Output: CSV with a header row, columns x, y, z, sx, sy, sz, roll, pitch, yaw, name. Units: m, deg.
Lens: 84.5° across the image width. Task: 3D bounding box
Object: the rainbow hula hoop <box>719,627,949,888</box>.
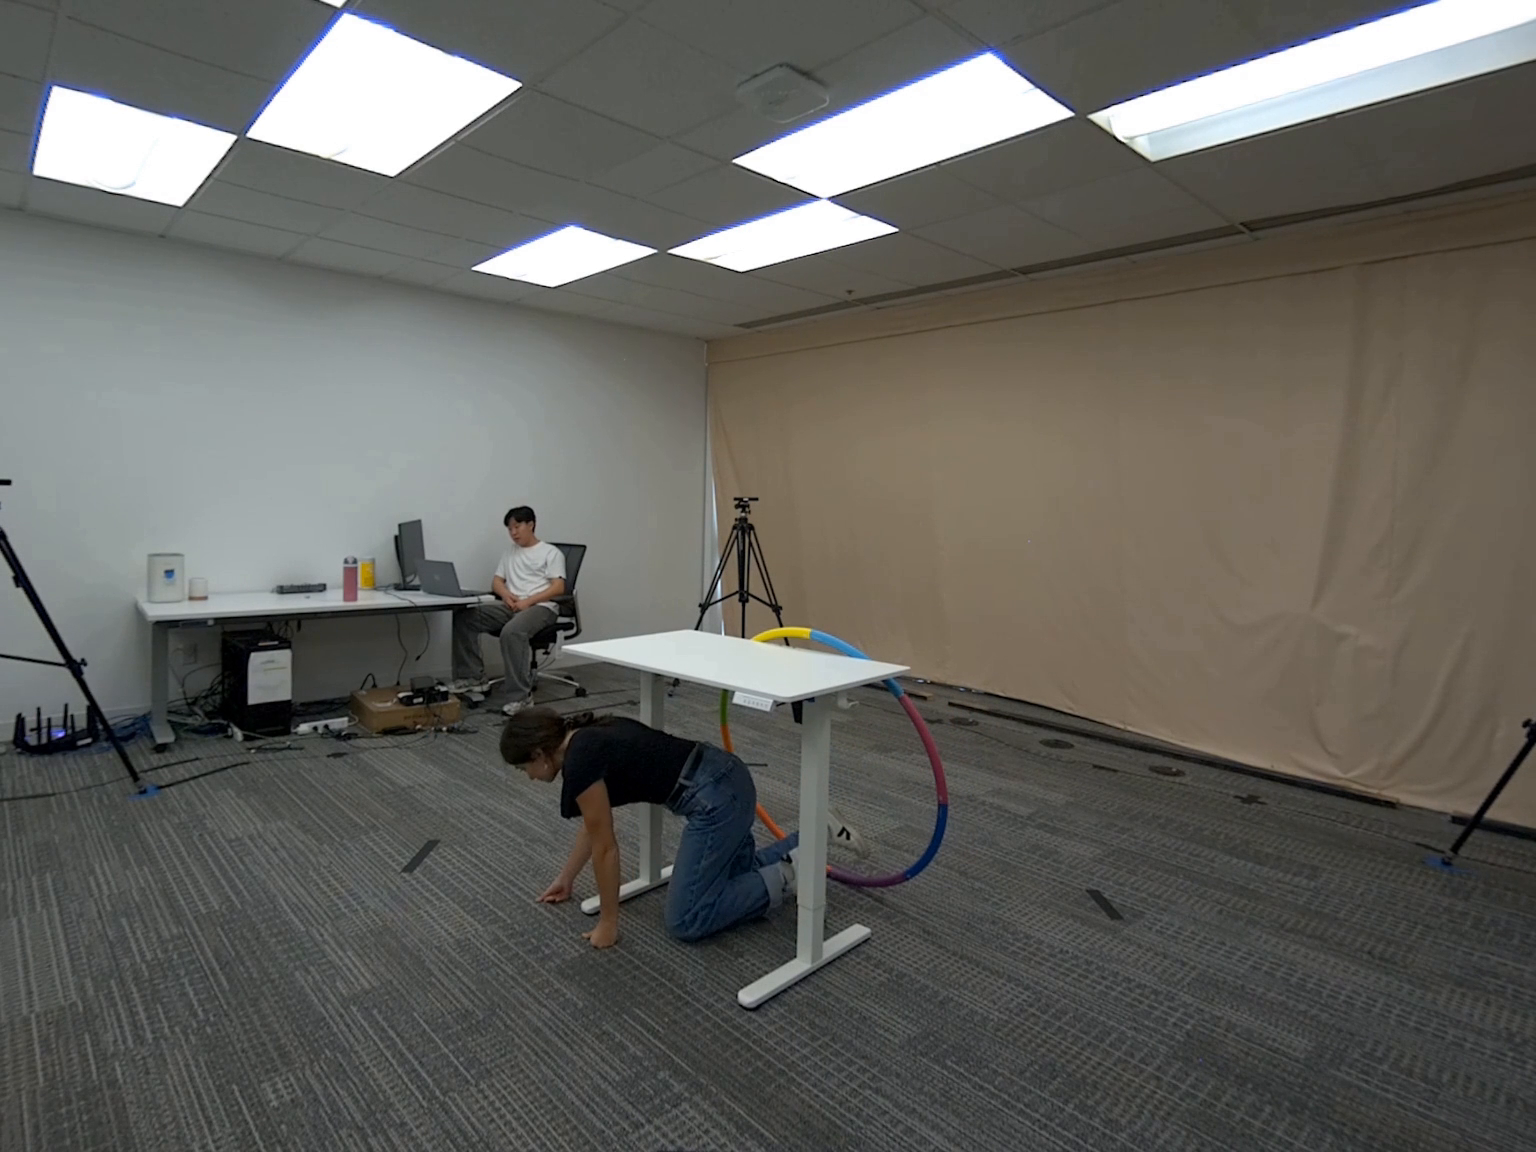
x,y,z,sx,sy,sz,roll,pitch,yaw,name
0.183,0.653,2.988,1.004,0.967,0.035,5,19,43,rainbow hula hoop
